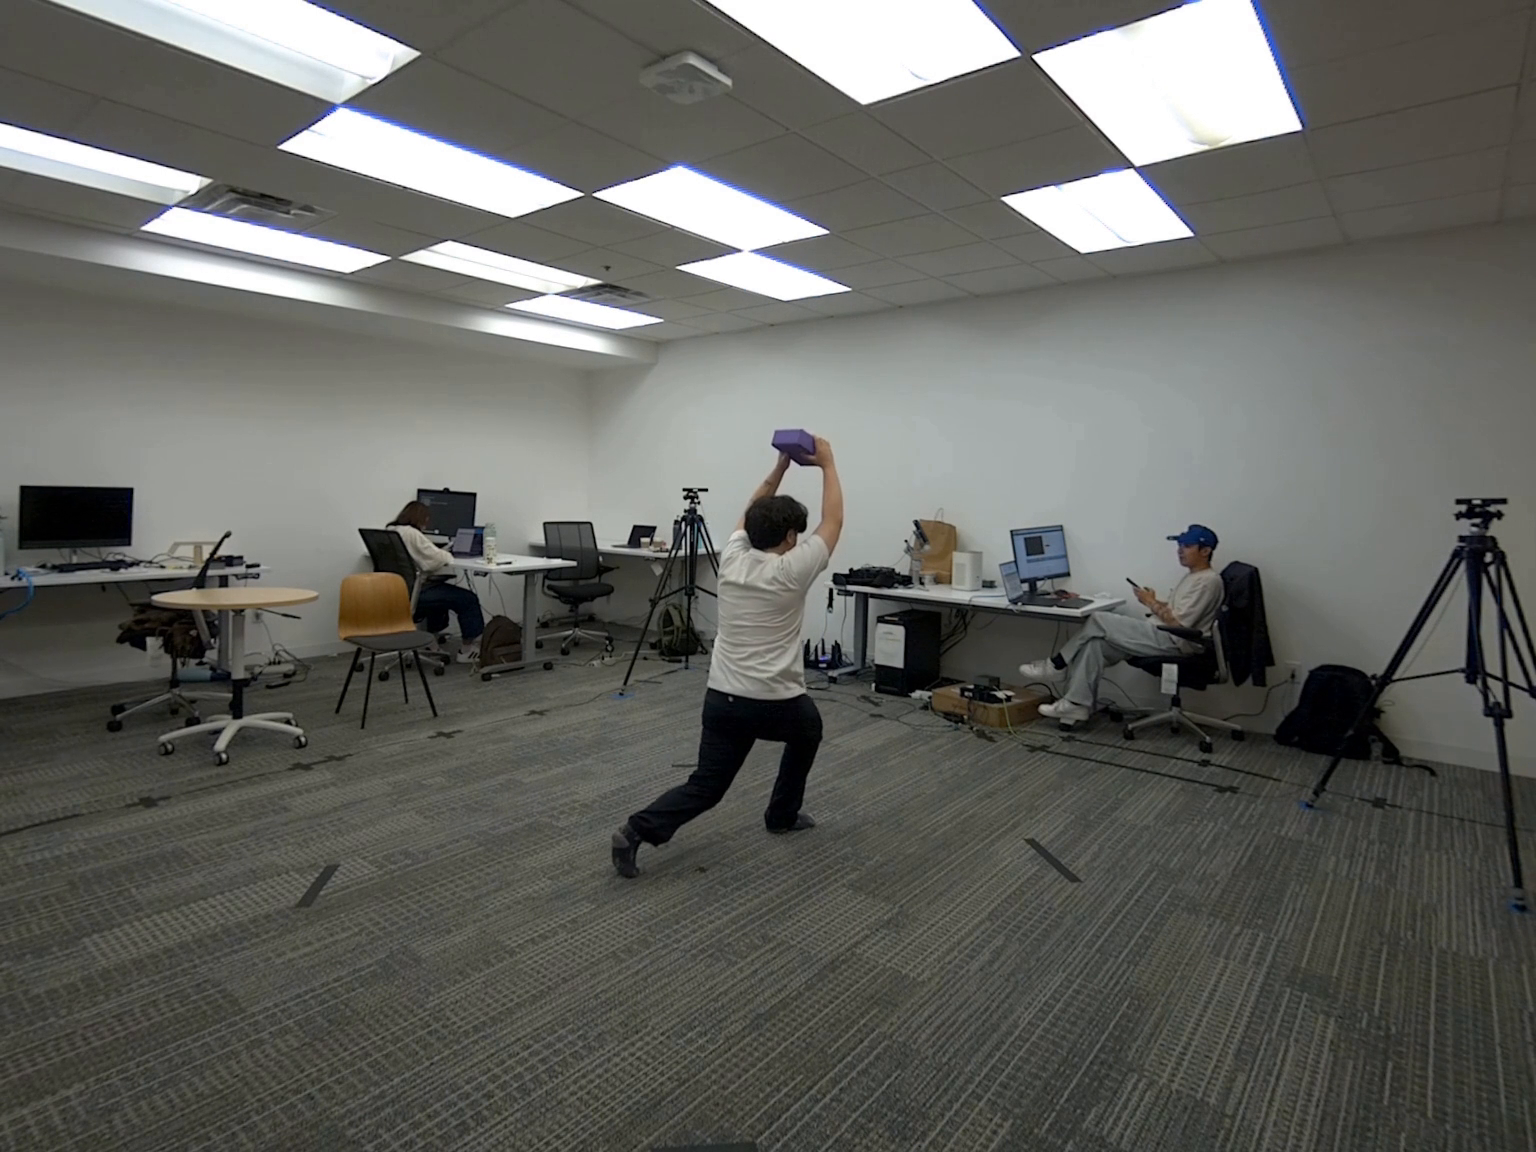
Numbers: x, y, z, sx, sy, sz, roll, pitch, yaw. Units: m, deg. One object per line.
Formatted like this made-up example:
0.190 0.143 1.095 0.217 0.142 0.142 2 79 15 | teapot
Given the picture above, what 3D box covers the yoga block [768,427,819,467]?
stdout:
0.133 -0.541 3.532 0.154 0.077 0.220 6 -13 40 | yoga block
